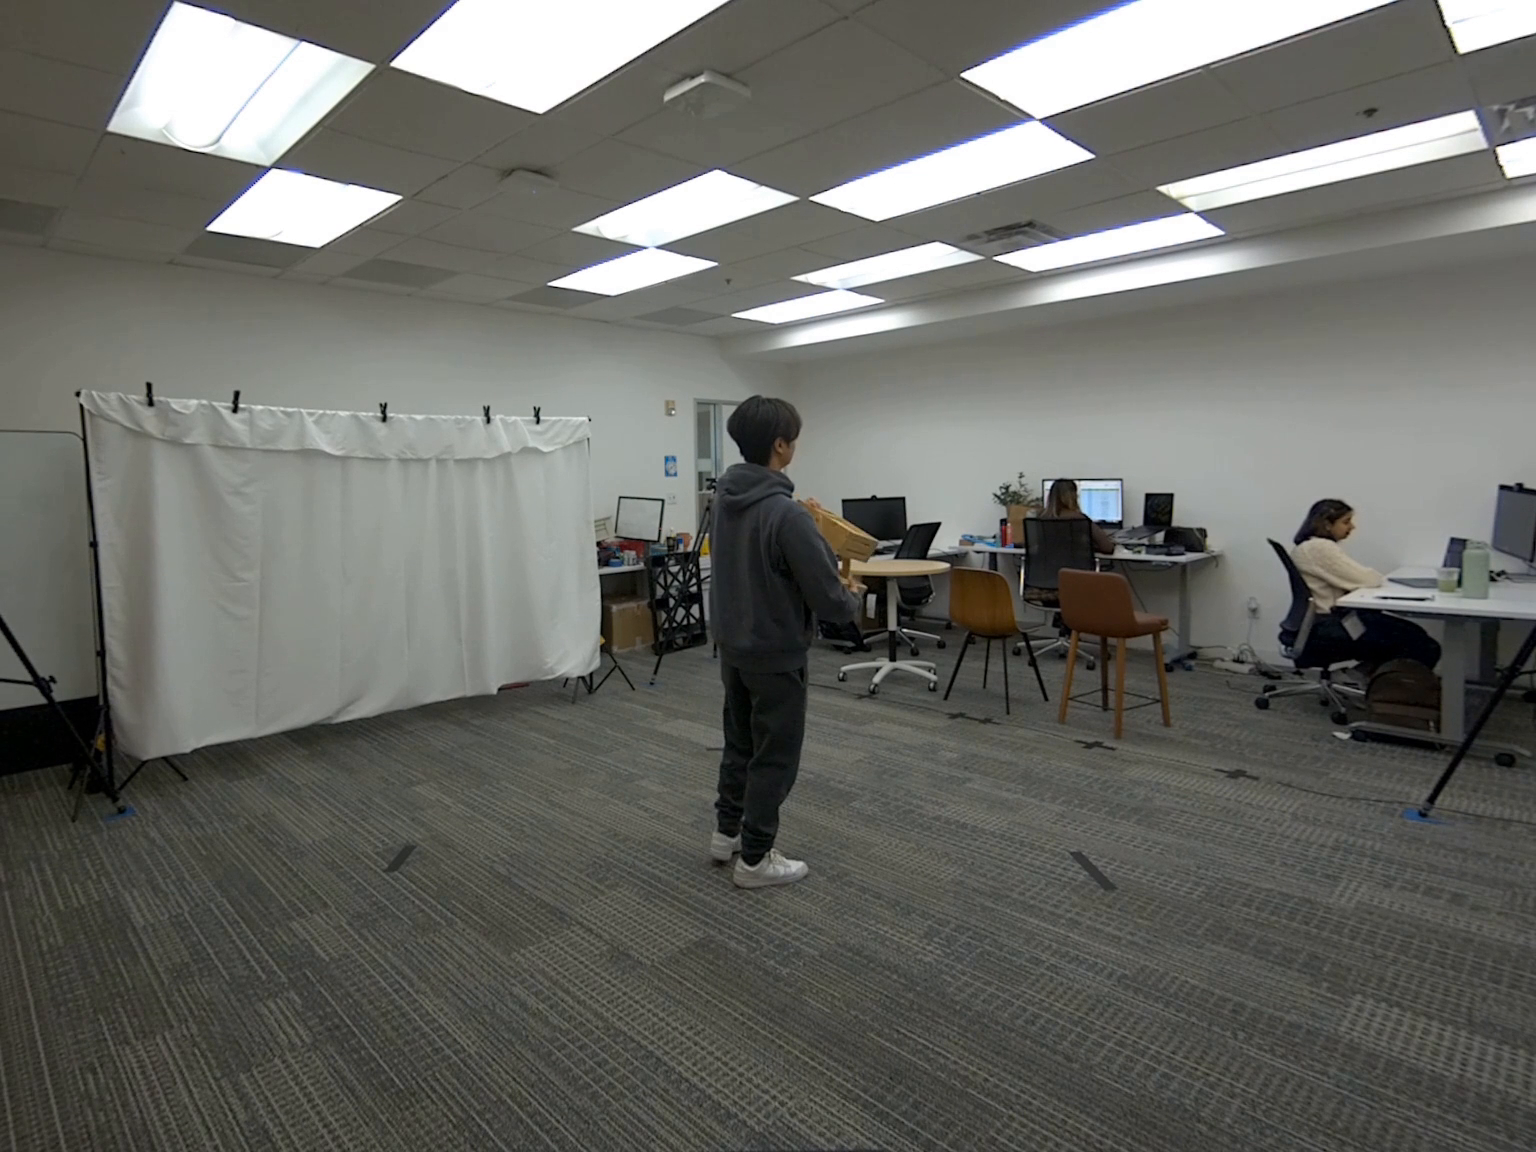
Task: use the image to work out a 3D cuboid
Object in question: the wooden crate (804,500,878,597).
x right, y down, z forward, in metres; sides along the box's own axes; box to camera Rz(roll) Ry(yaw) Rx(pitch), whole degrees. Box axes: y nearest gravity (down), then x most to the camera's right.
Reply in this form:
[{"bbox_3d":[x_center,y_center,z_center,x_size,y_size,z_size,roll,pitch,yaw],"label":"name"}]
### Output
[{"bbox_3d":[0.202,-0.078,3.078,0.312,0.272,0.315,35,10,27],"label":"wooden crate"}]
